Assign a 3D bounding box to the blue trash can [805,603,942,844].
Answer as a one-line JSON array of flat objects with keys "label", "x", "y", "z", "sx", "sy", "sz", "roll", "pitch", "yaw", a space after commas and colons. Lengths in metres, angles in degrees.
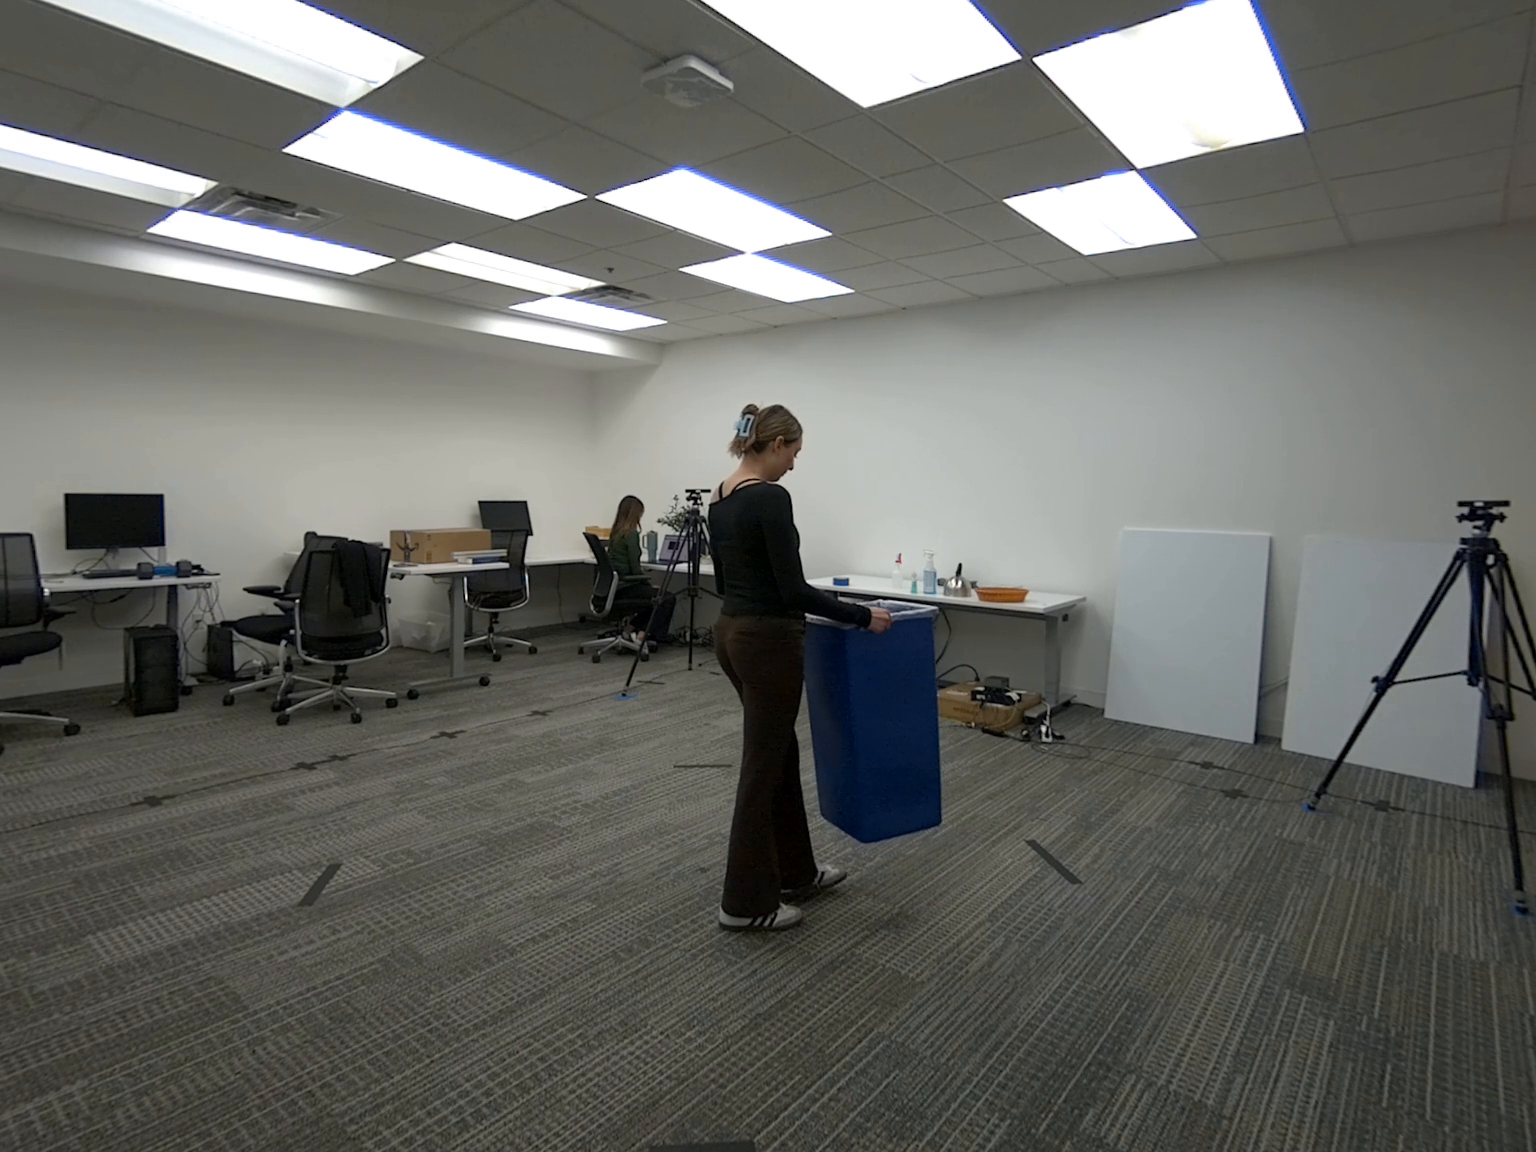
[{"label": "blue trash can", "x": 0.340, "y": 0.472, "z": 2.857, "sx": 0.370, "sy": 0.713, "sz": 0.383, "roll": -4, "pitch": 2, "yaw": -24}]
